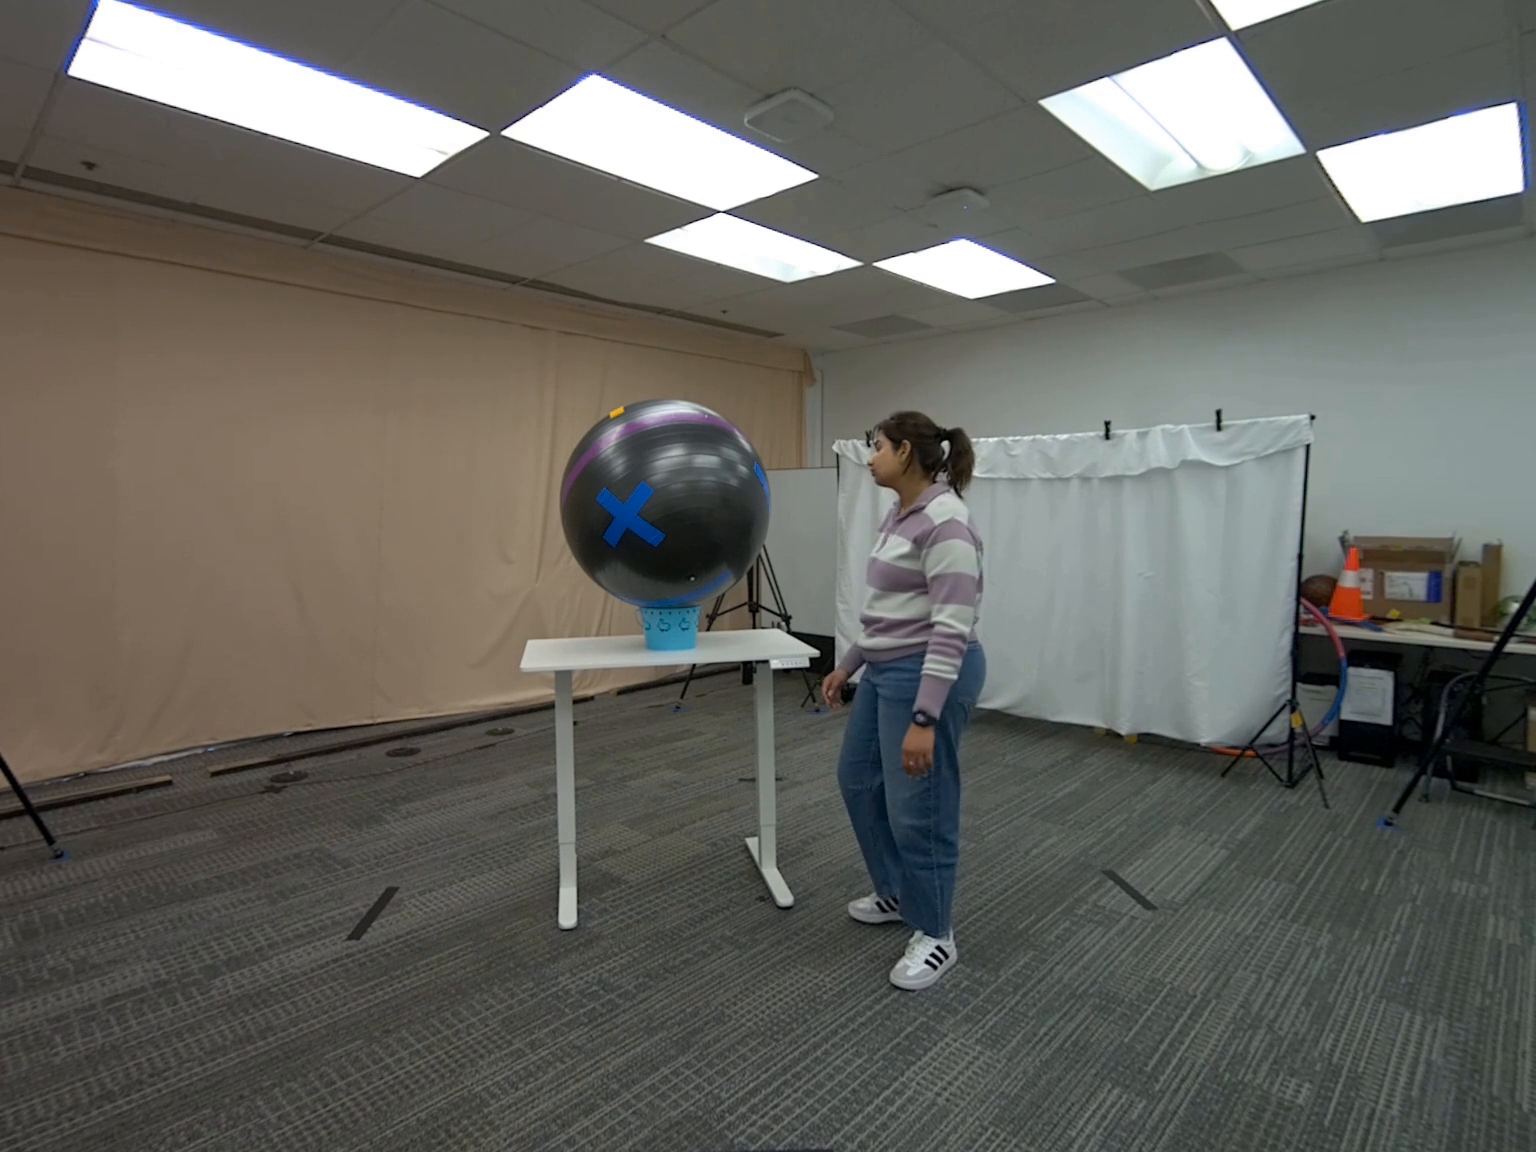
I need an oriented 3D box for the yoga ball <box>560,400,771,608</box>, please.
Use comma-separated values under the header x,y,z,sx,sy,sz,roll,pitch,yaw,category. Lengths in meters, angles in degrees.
x,y,z,sx,sy,sz,roll,pitch,yaw,category
-0.371,-0.253,3.044,0.757,0.756,0.760,0,4,-2,yoga ball
